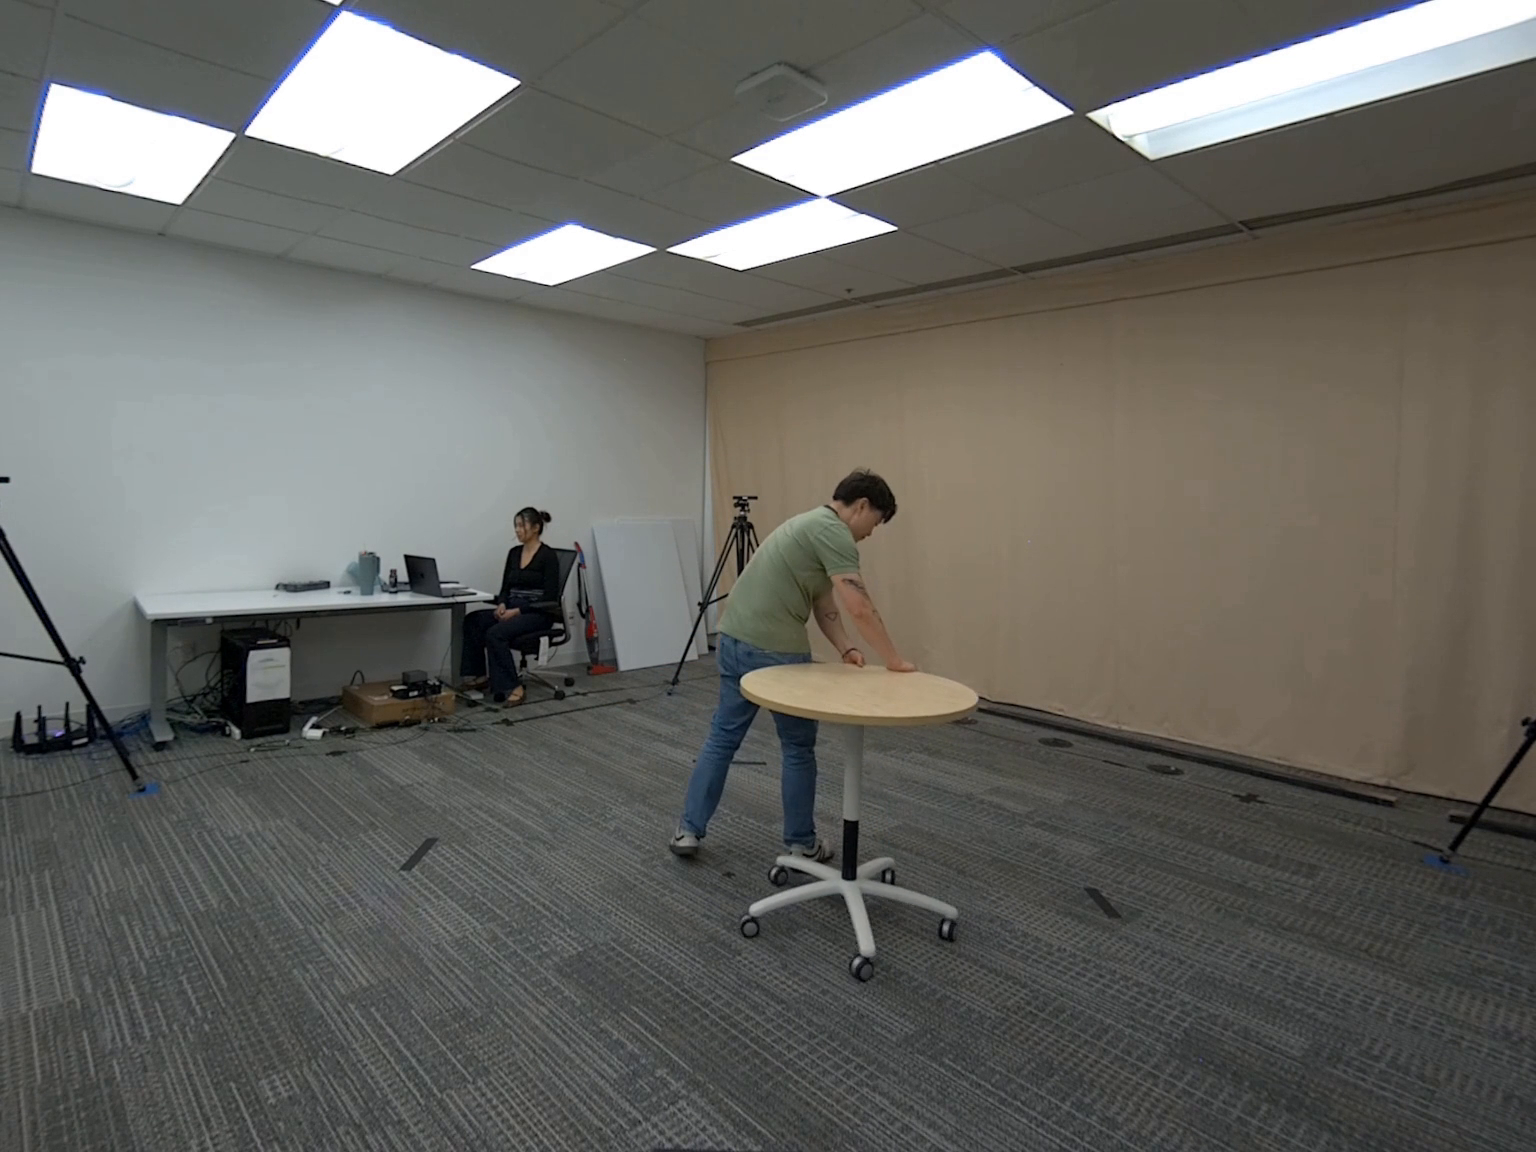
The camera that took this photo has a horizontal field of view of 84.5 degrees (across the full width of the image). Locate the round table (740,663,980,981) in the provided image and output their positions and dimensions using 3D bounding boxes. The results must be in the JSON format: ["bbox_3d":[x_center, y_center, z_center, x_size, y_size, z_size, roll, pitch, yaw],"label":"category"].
[{"bbox_3d":[0.275,0.755,2.779,0.763,0.792,0.767,2,4,-2],"label":"round table"}]
